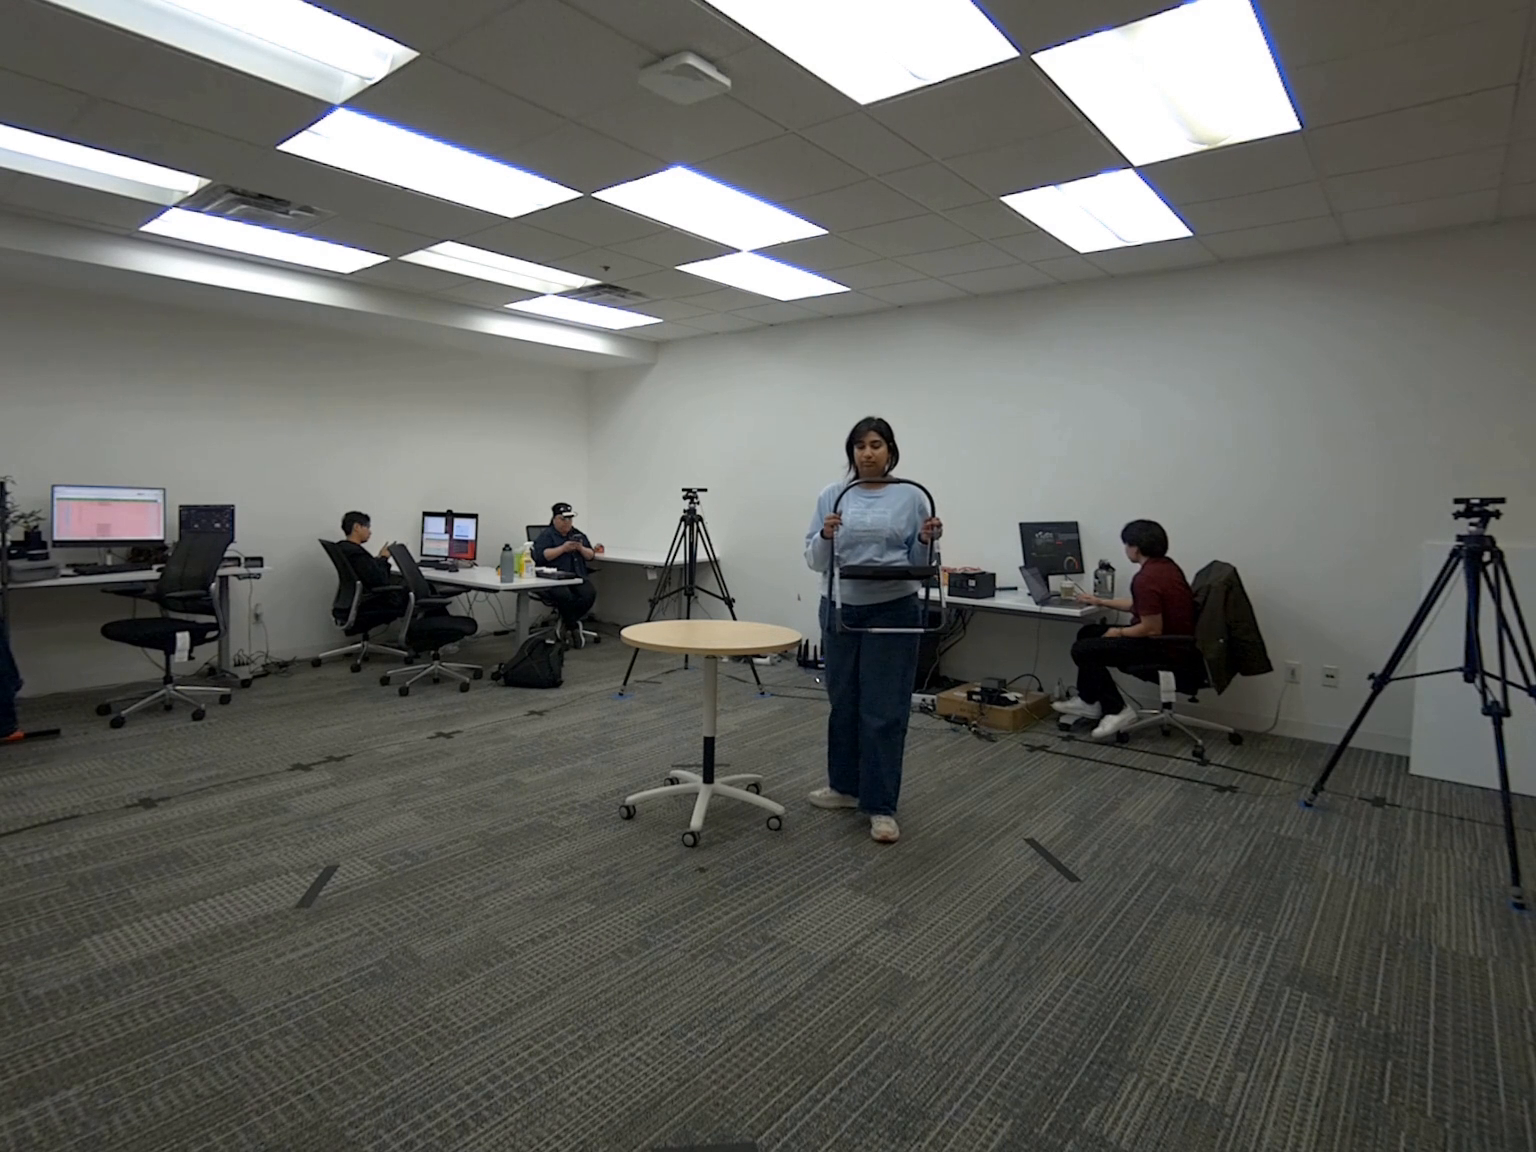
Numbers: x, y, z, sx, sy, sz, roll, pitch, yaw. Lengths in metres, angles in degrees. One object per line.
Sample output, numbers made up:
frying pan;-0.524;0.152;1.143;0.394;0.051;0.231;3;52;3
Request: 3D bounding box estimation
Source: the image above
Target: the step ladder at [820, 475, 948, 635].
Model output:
step ladder;0.448;-0.077;3.352;0.430;0.609;0.348;-2;-5;-2
